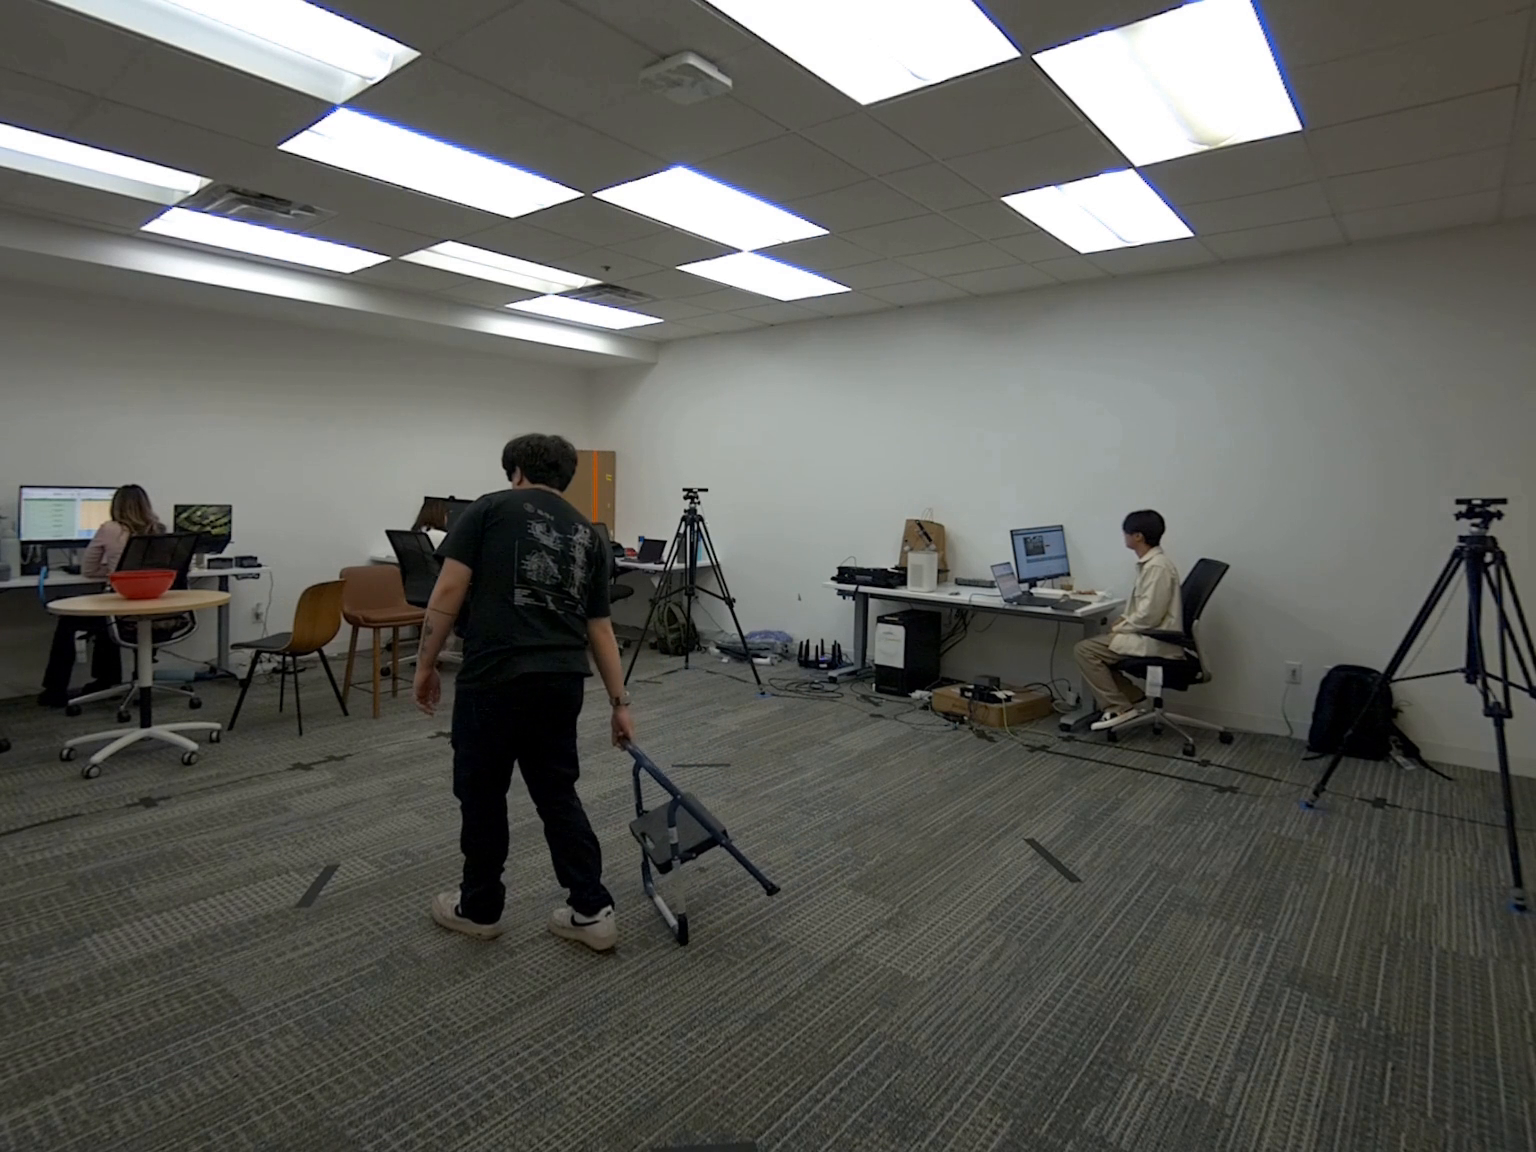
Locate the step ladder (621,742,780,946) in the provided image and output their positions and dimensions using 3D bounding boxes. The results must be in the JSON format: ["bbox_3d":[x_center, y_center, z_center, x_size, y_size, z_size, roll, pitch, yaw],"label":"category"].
[{"bbox_3d":[-0.311,0.763,2.765,0.345,0.598,0.441,-25,12,-20],"label":"step ladder"}]
